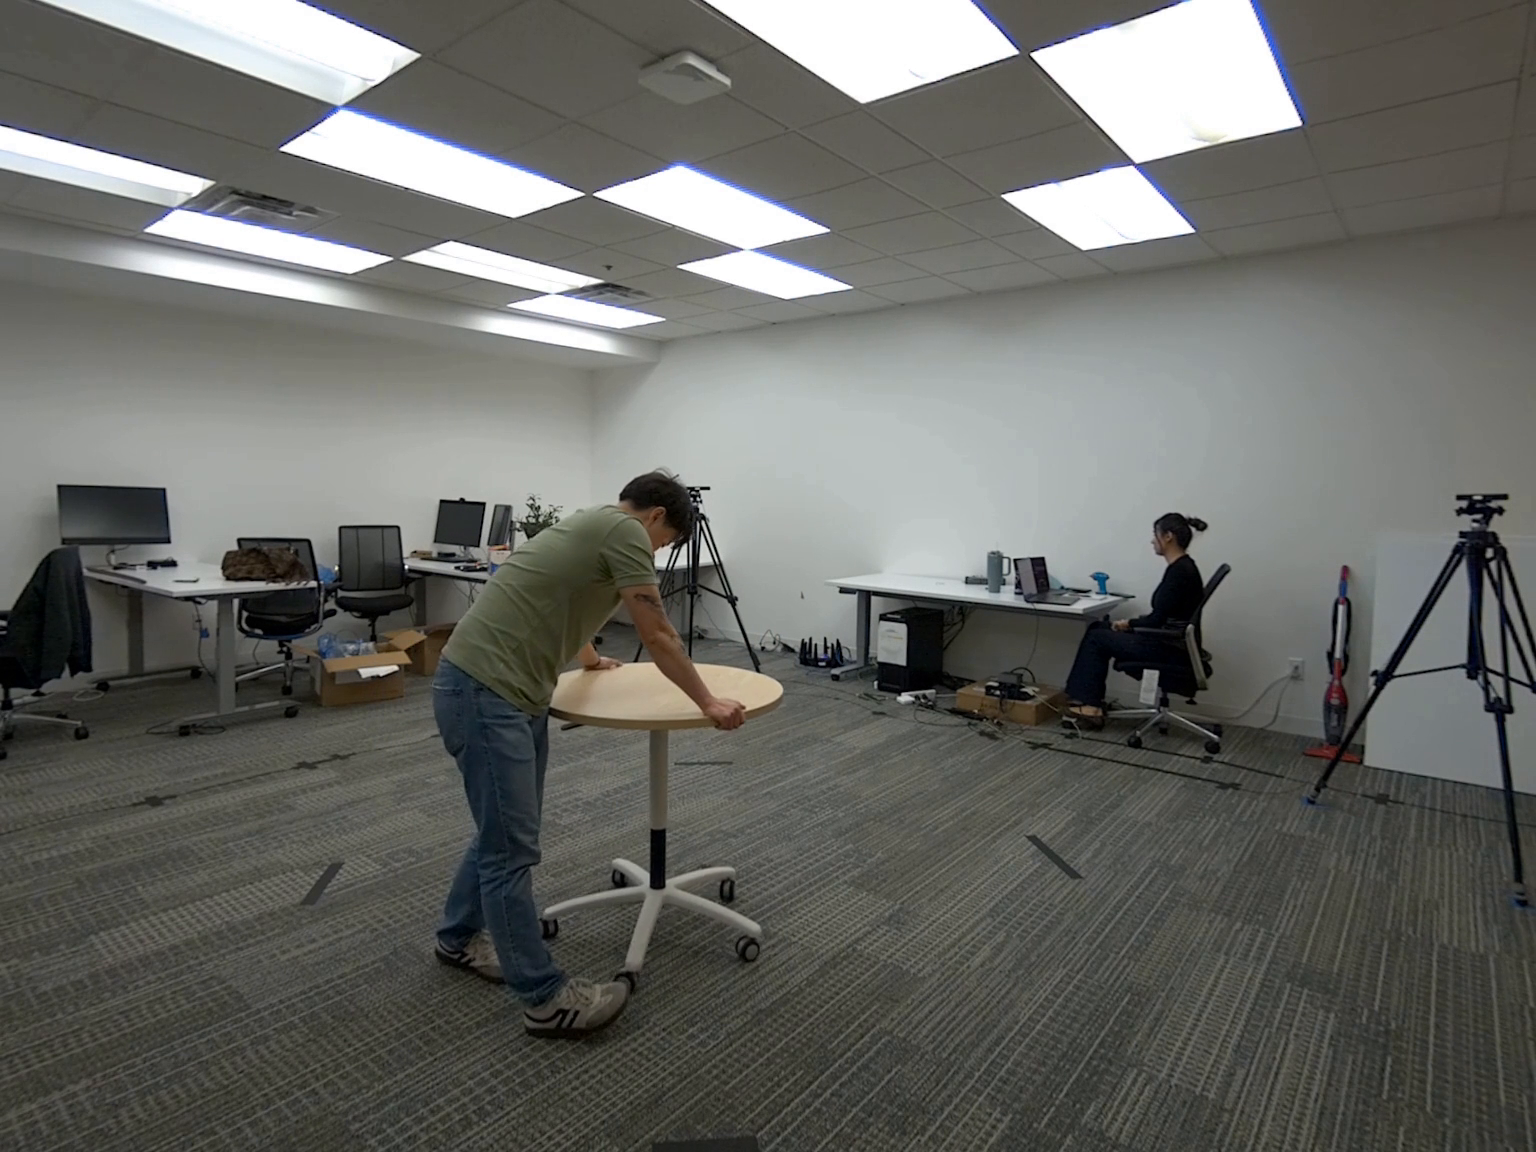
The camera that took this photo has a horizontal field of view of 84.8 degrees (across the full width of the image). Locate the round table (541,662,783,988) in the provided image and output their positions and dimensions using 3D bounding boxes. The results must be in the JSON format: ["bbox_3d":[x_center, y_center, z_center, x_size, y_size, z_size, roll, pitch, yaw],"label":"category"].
[{"bbox_3d":[-0.348,0.727,2.647,0.763,0.791,0.768,0,4,-2],"label":"round table"}]
